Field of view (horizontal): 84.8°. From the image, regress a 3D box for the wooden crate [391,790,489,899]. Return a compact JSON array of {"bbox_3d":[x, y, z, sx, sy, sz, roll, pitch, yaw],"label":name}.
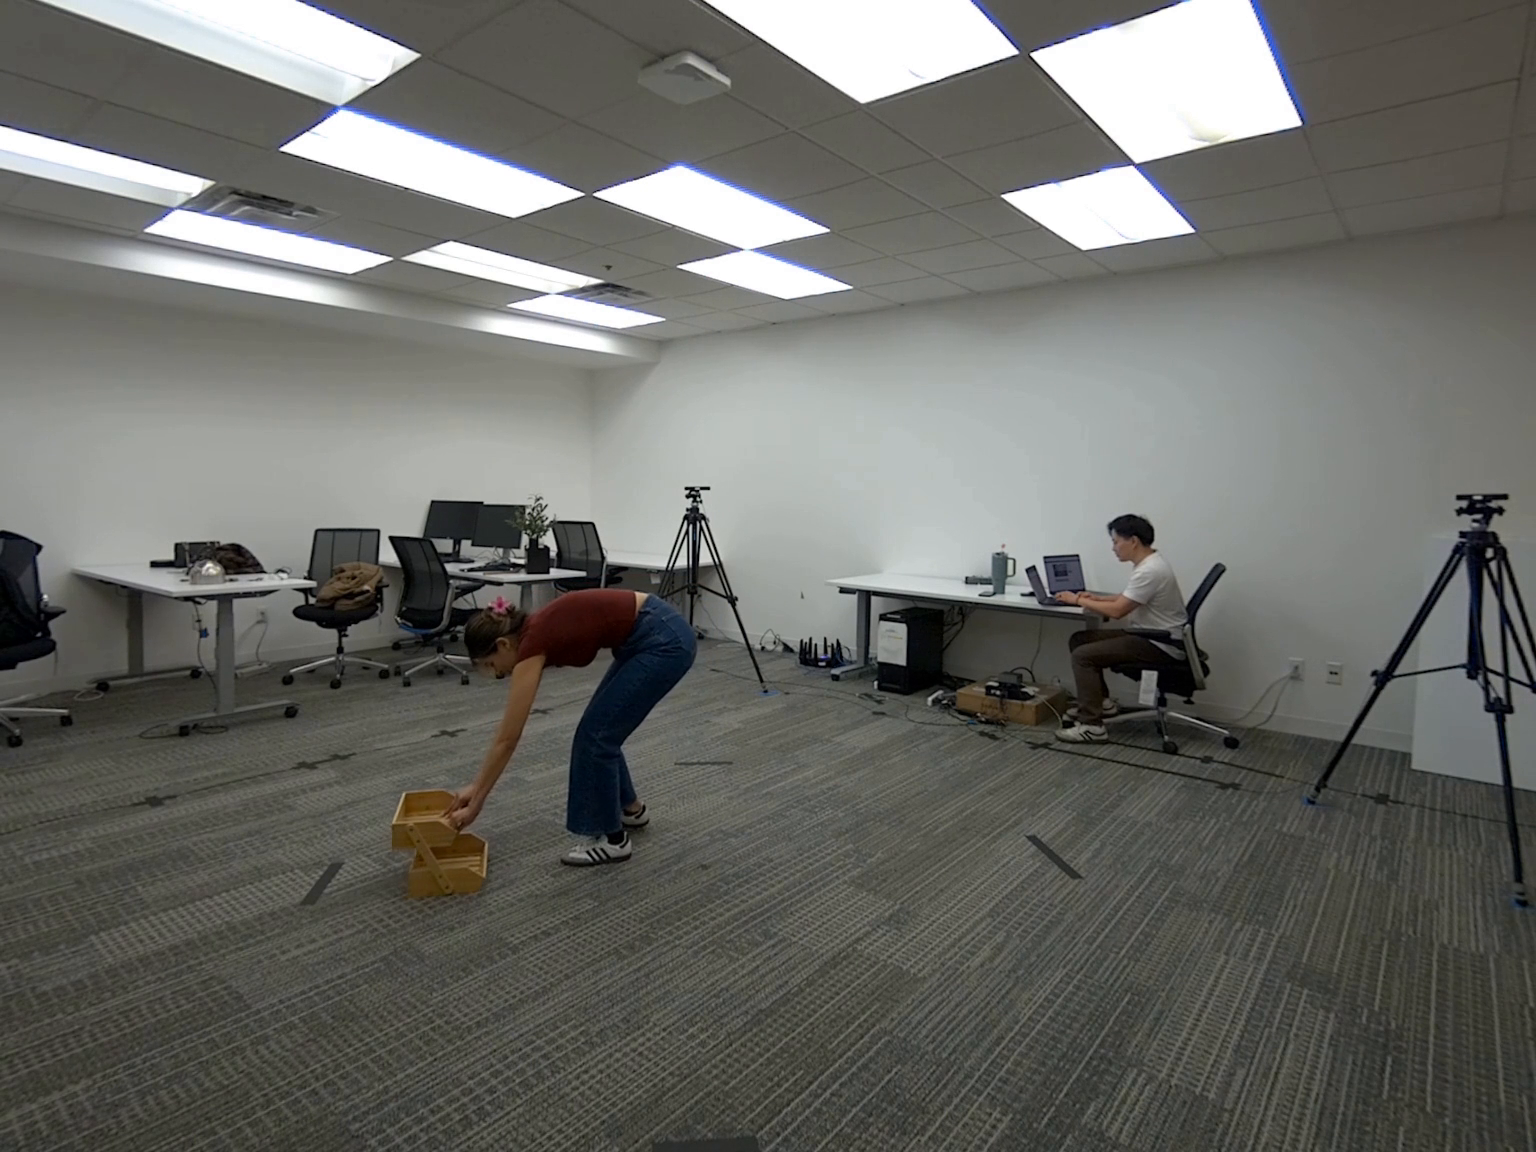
[{"bbox_3d":[-1.158,0.930,3.013,0.297,0.272,0.331,-1,5,-16],"label":"wooden crate"}]
